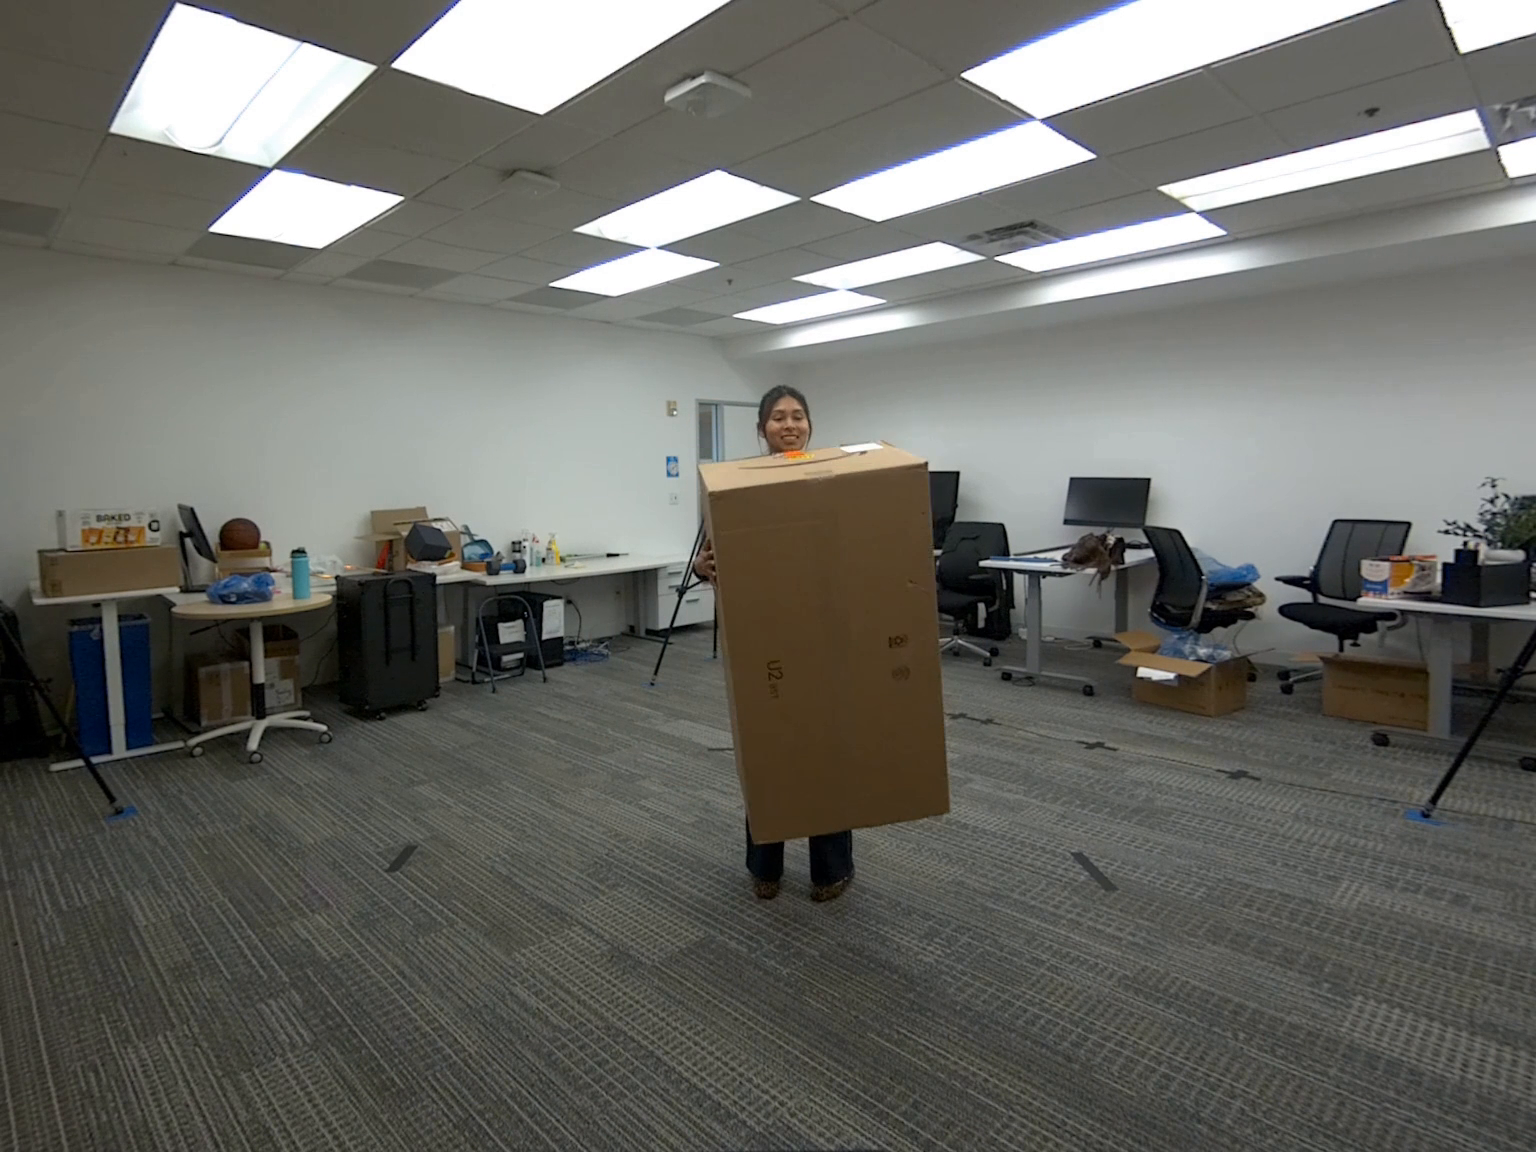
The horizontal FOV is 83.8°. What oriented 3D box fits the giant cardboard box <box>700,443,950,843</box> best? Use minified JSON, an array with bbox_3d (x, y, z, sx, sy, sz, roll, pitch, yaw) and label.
[{"bbox_3d":[0.154,0.178,2.485,0.575,1.011,0.434,-8,15,-6],"label":"giant cardboard box"}]
